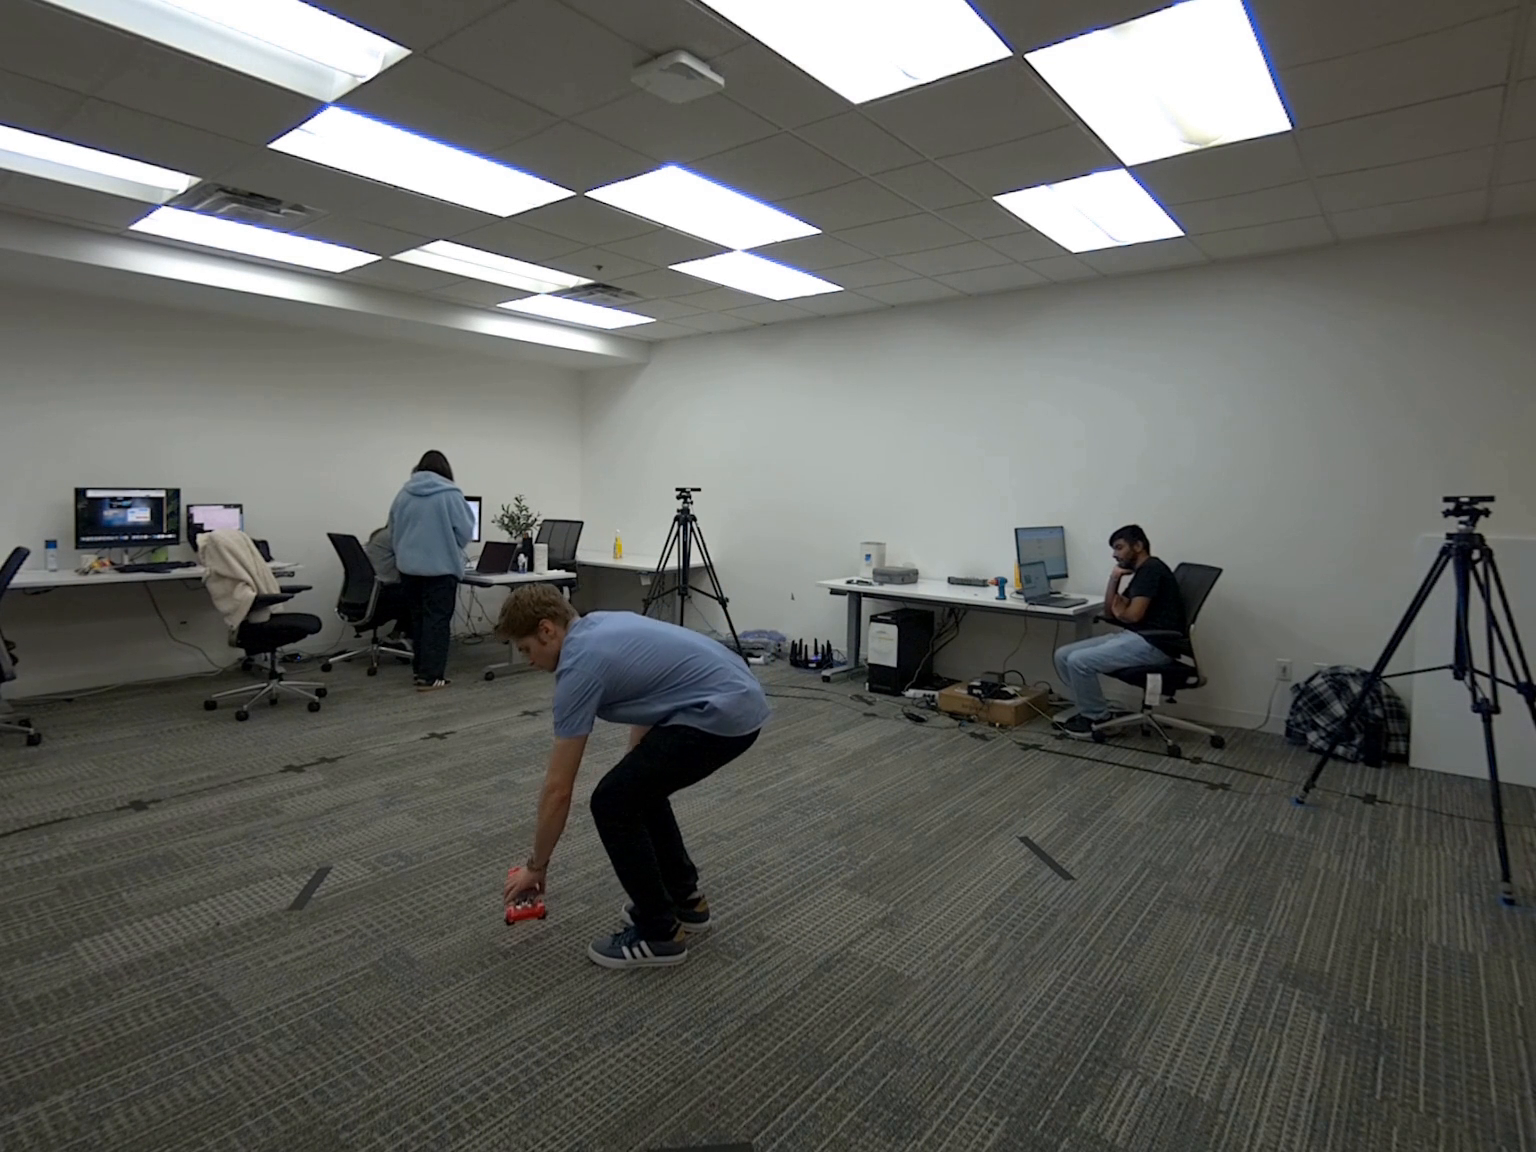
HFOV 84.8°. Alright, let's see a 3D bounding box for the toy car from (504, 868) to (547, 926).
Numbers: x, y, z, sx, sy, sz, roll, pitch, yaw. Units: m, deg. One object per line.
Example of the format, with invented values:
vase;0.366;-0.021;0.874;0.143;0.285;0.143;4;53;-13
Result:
toy car;-0.730;0.939;2.550;0.128;0.082;0.263;-5;16;-20
